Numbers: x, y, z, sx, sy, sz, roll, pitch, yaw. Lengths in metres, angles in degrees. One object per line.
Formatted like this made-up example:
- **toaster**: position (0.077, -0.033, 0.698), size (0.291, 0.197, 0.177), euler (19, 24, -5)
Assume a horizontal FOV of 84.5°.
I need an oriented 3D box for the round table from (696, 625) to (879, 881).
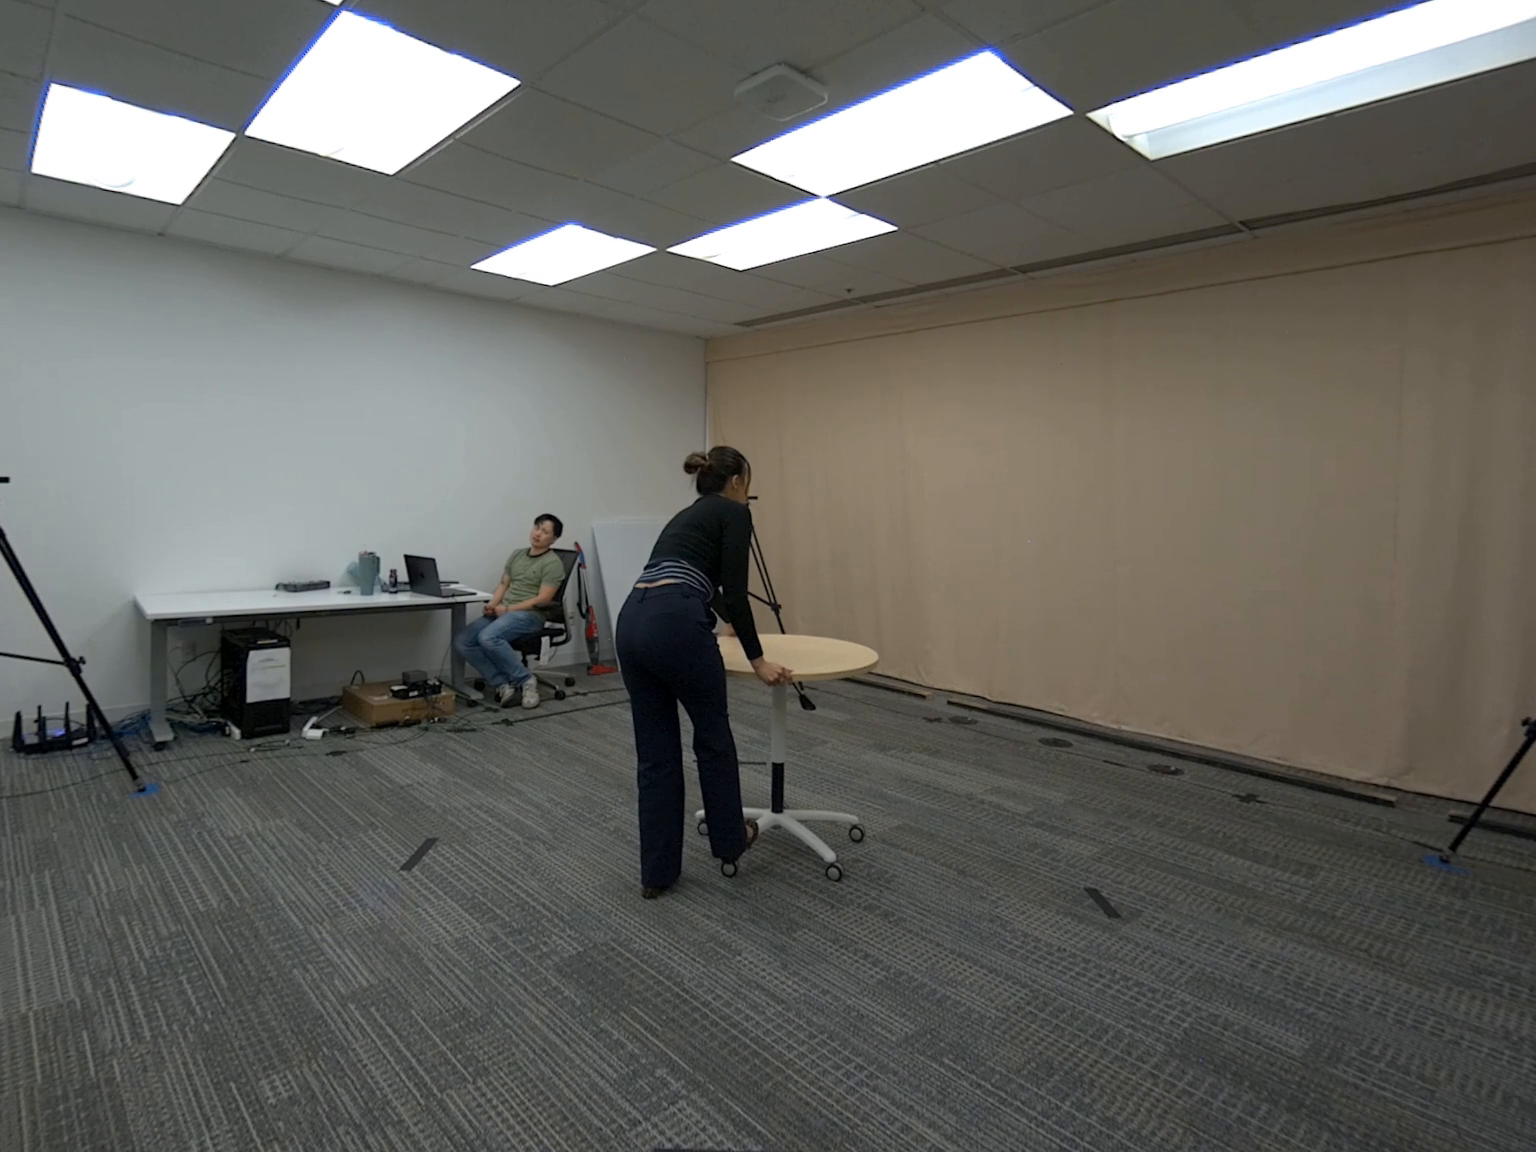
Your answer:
- **round table**: position (0.036, 0.694, 3.344), size (0.763, 0.792, 0.767), euler (1, 4, -1)
